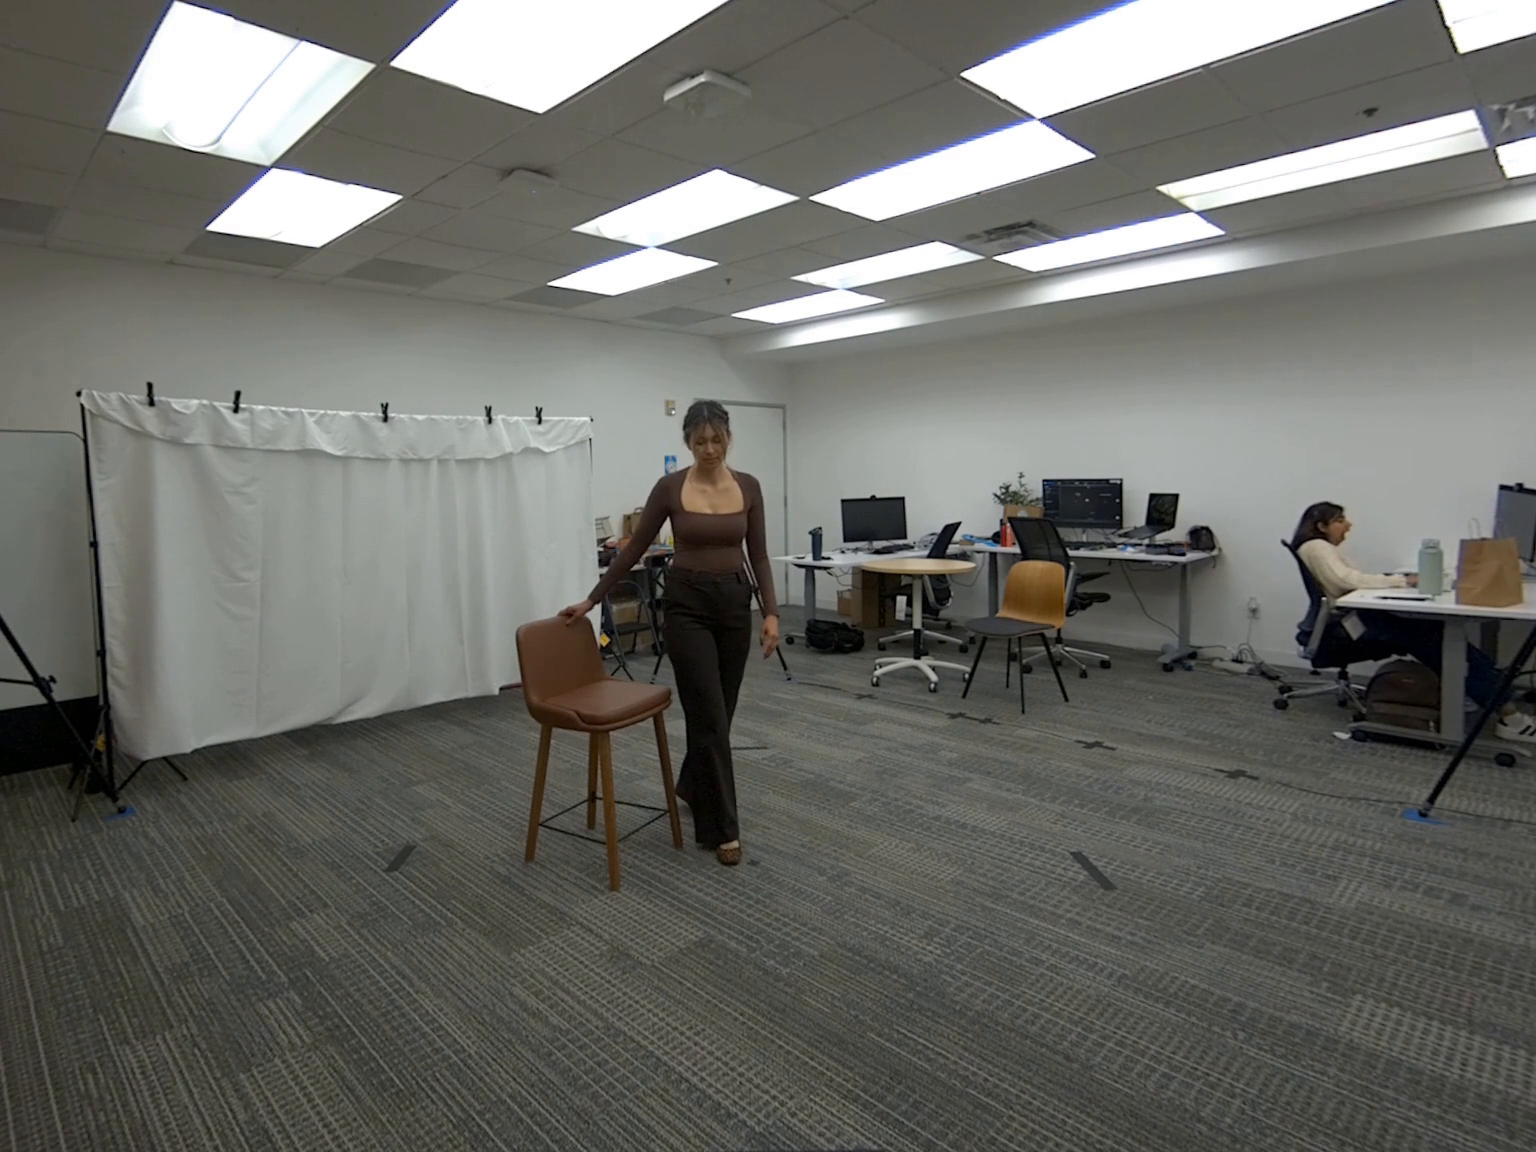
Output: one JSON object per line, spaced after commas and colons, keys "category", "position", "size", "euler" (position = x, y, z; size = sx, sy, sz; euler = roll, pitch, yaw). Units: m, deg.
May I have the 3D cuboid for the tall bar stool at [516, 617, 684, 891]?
{"category": "tall bar stool", "position": [-0.628, 0.610, 3.170], "size": [0.480, 0.888, 0.446], "euler": [-1, 3, 32]}
